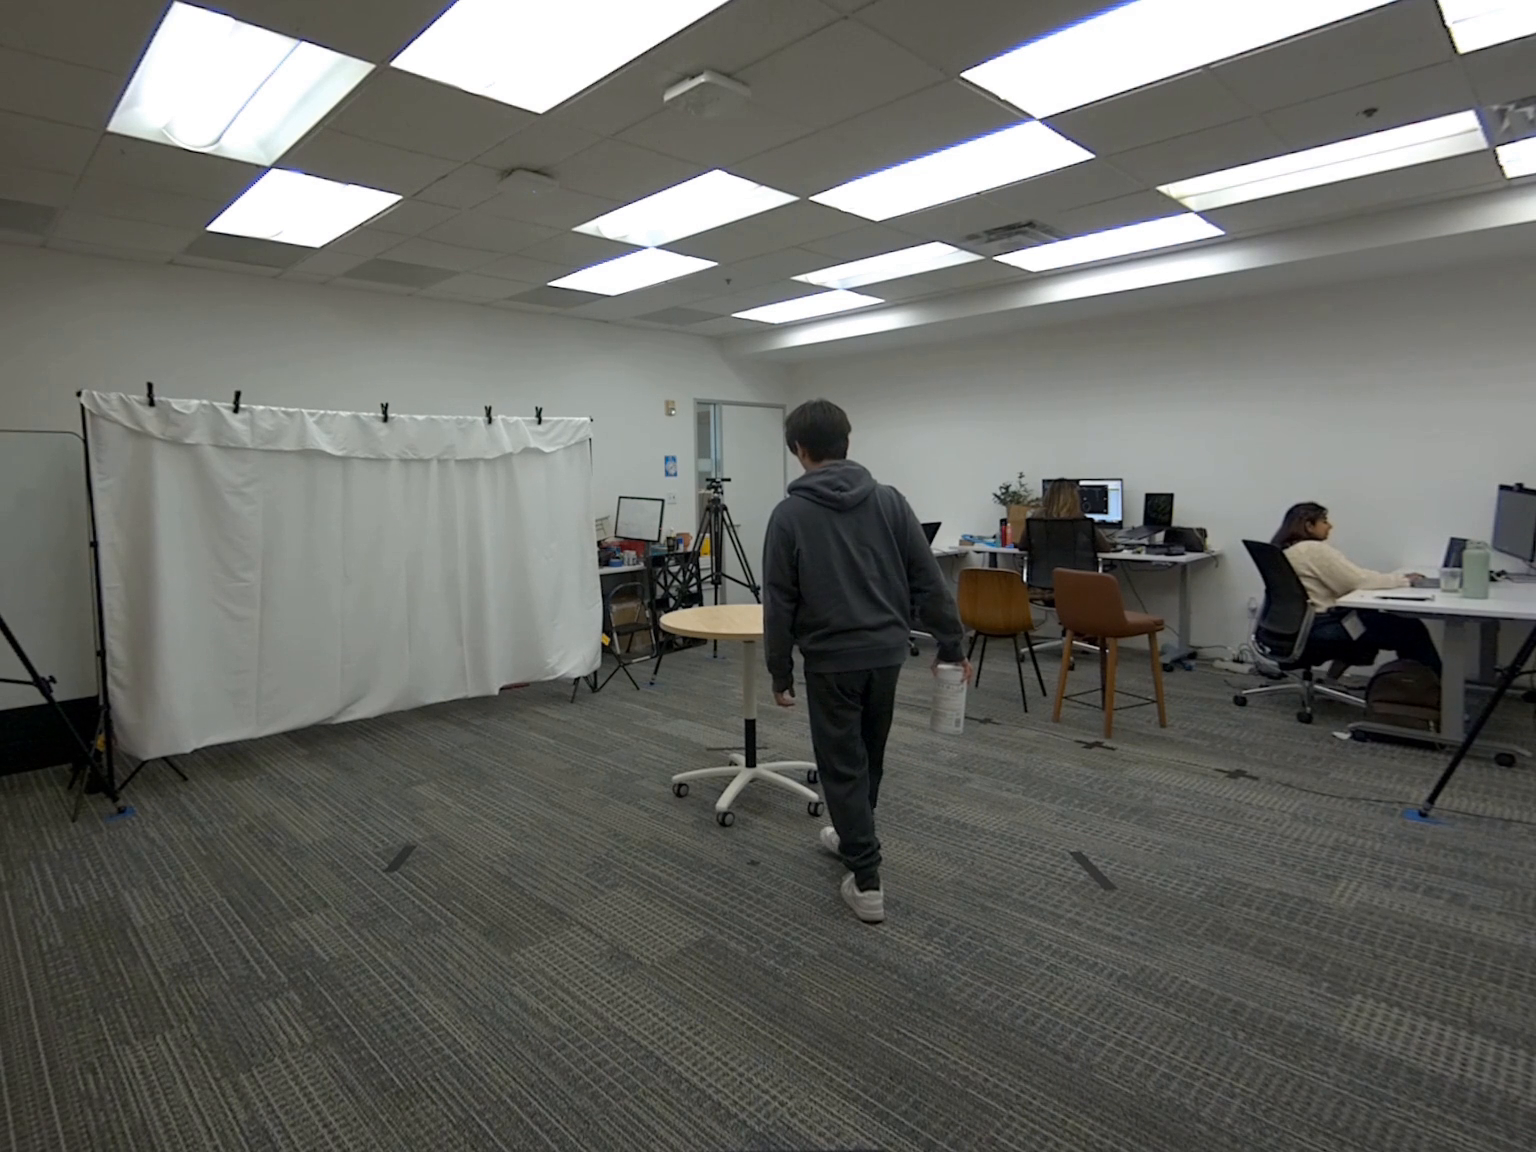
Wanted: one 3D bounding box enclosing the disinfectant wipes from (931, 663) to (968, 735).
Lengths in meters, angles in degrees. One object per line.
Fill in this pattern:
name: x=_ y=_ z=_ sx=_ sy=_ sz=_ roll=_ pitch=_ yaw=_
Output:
disinfectant wipes: x=0.607 y=0.411 z=2.858 sx=0.117 sy=0.217 sz=0.118 roll=3 pitch=3 yaw=-2
